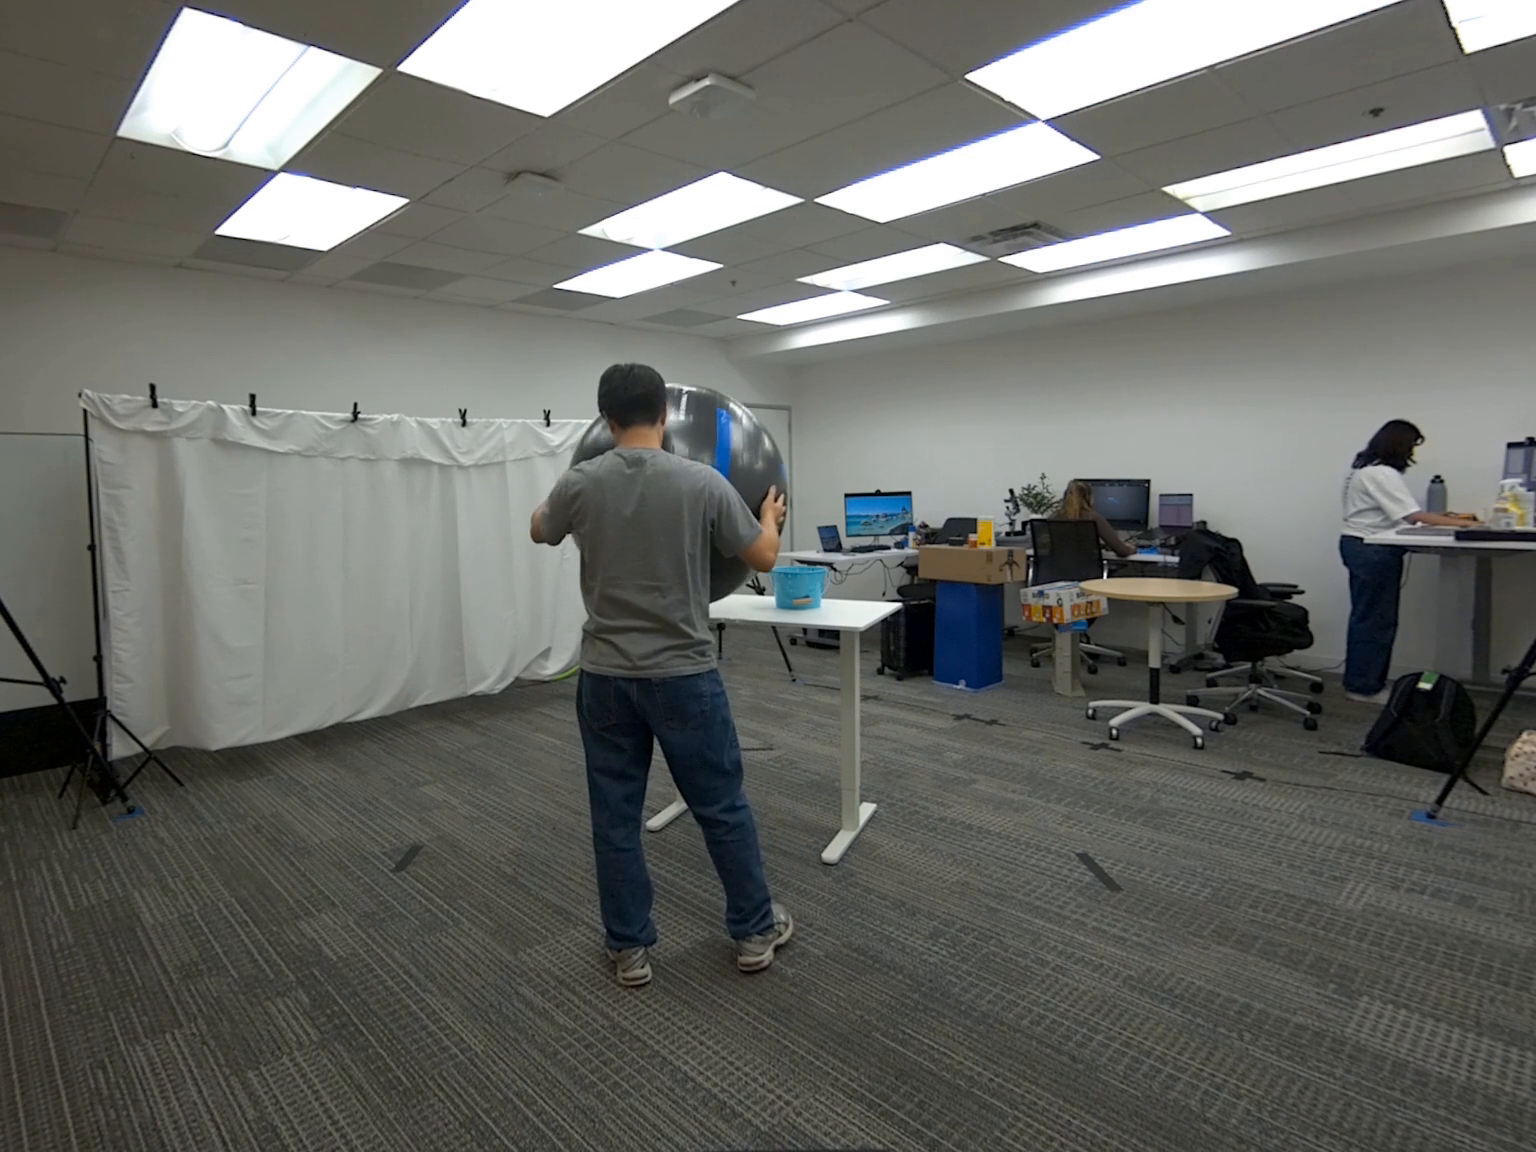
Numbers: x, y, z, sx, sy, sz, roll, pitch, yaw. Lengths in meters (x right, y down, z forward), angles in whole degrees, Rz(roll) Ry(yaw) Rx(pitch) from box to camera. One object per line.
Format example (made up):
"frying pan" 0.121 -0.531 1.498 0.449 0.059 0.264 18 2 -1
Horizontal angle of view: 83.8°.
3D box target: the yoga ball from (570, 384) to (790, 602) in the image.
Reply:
"yoga ball" -0.314 -0.267 2.921 0.757 0.755 0.762 -1 5 -2
